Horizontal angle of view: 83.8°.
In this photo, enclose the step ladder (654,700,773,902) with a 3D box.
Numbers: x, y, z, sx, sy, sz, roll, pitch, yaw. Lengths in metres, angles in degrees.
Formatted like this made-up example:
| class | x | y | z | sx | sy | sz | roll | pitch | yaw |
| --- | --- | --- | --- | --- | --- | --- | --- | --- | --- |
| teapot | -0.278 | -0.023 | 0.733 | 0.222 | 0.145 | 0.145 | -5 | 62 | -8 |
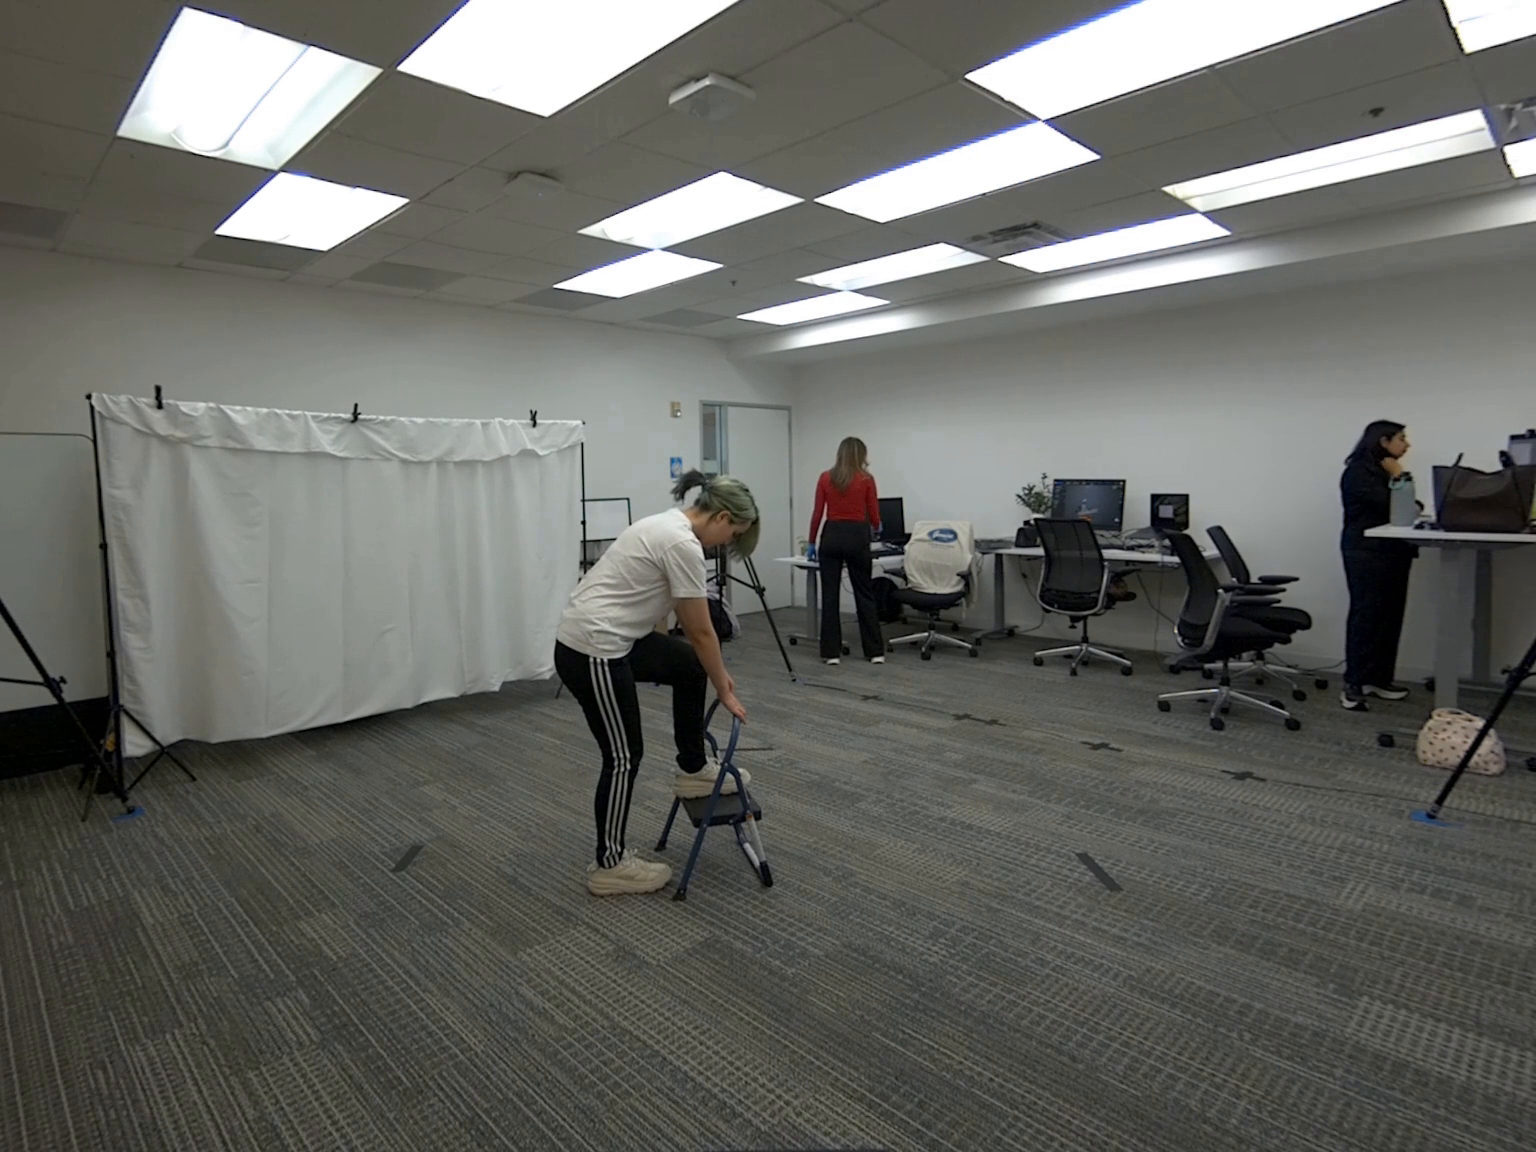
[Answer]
| class | x | y | z | sx | sy | sz | roll | pitch | yaw |
| --- | --- | --- | --- | --- | --- | --- | --- | --- | --- |
| step ladder | -0.204 | 0.754 | 3.072 | 0.344 | 0.604 | 0.438 | -2 | 5 | -16 |
